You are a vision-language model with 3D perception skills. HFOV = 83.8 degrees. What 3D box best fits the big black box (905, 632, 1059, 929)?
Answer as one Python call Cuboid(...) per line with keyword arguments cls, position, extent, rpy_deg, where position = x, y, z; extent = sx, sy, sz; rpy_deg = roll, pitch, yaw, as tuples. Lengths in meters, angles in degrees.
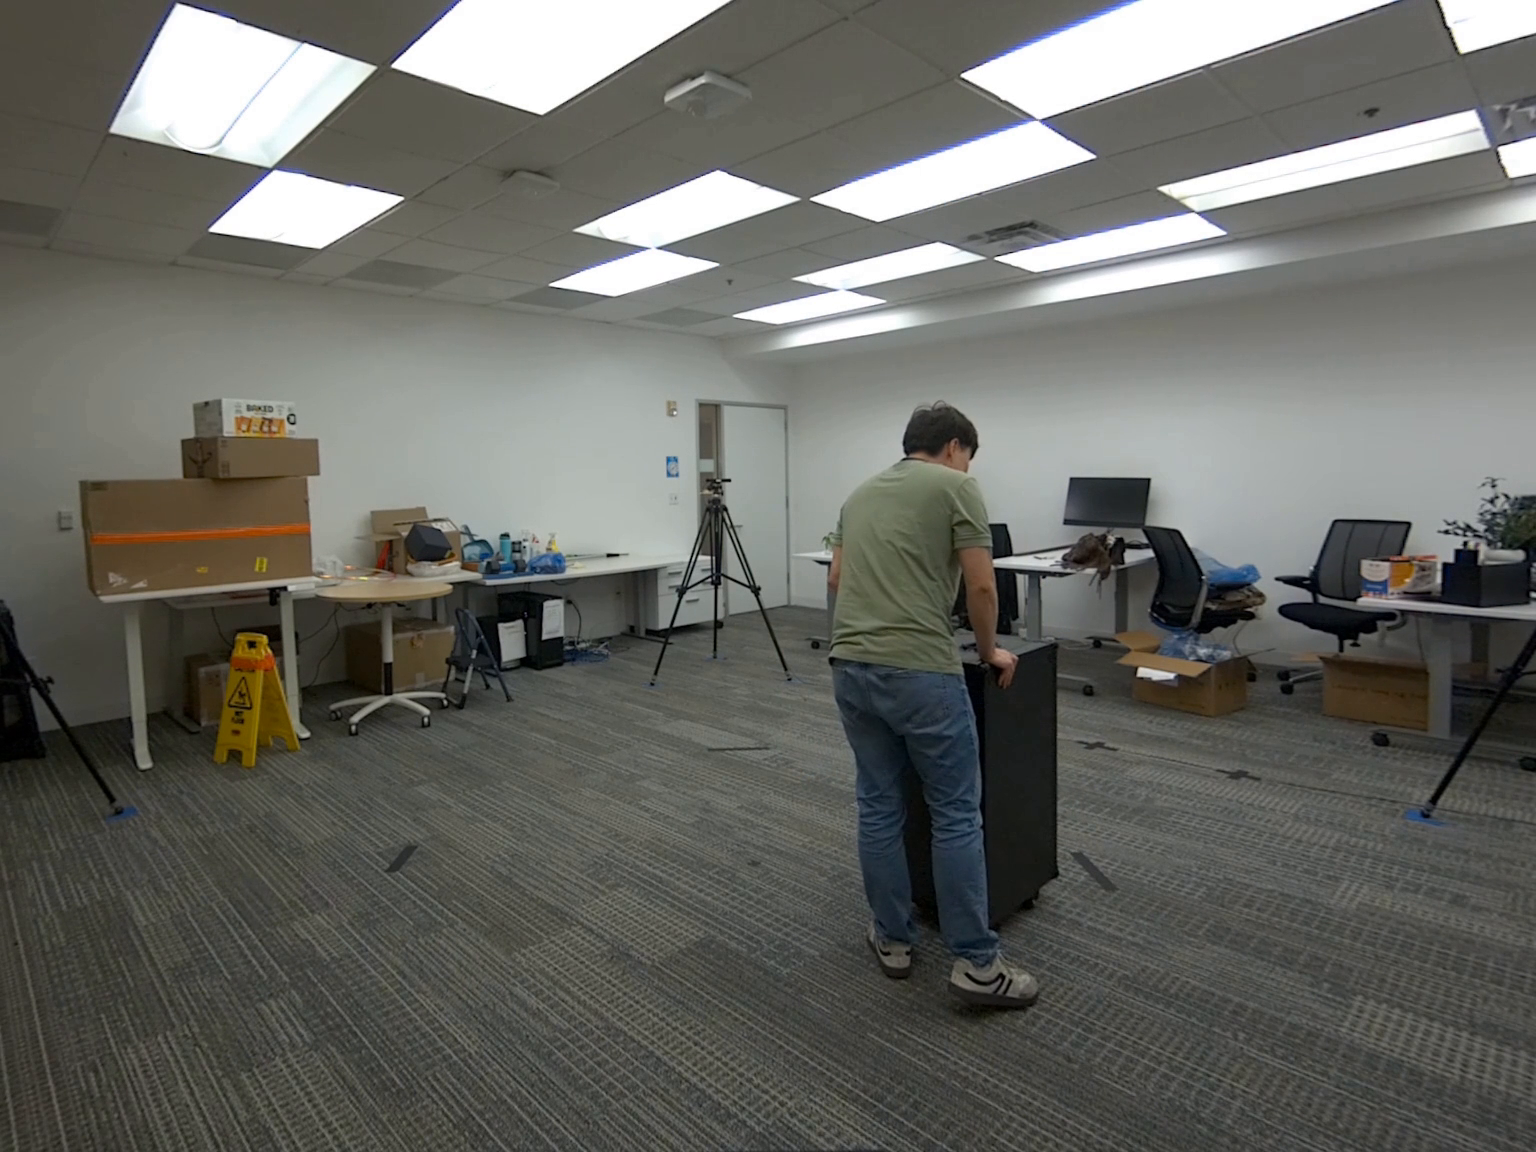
Cuboid(cls="big black box", position=(0.656, 0.649, 2.757), extent=(0.408, 0.859, 0.507), rpy_deg=(1, 4, 43))
